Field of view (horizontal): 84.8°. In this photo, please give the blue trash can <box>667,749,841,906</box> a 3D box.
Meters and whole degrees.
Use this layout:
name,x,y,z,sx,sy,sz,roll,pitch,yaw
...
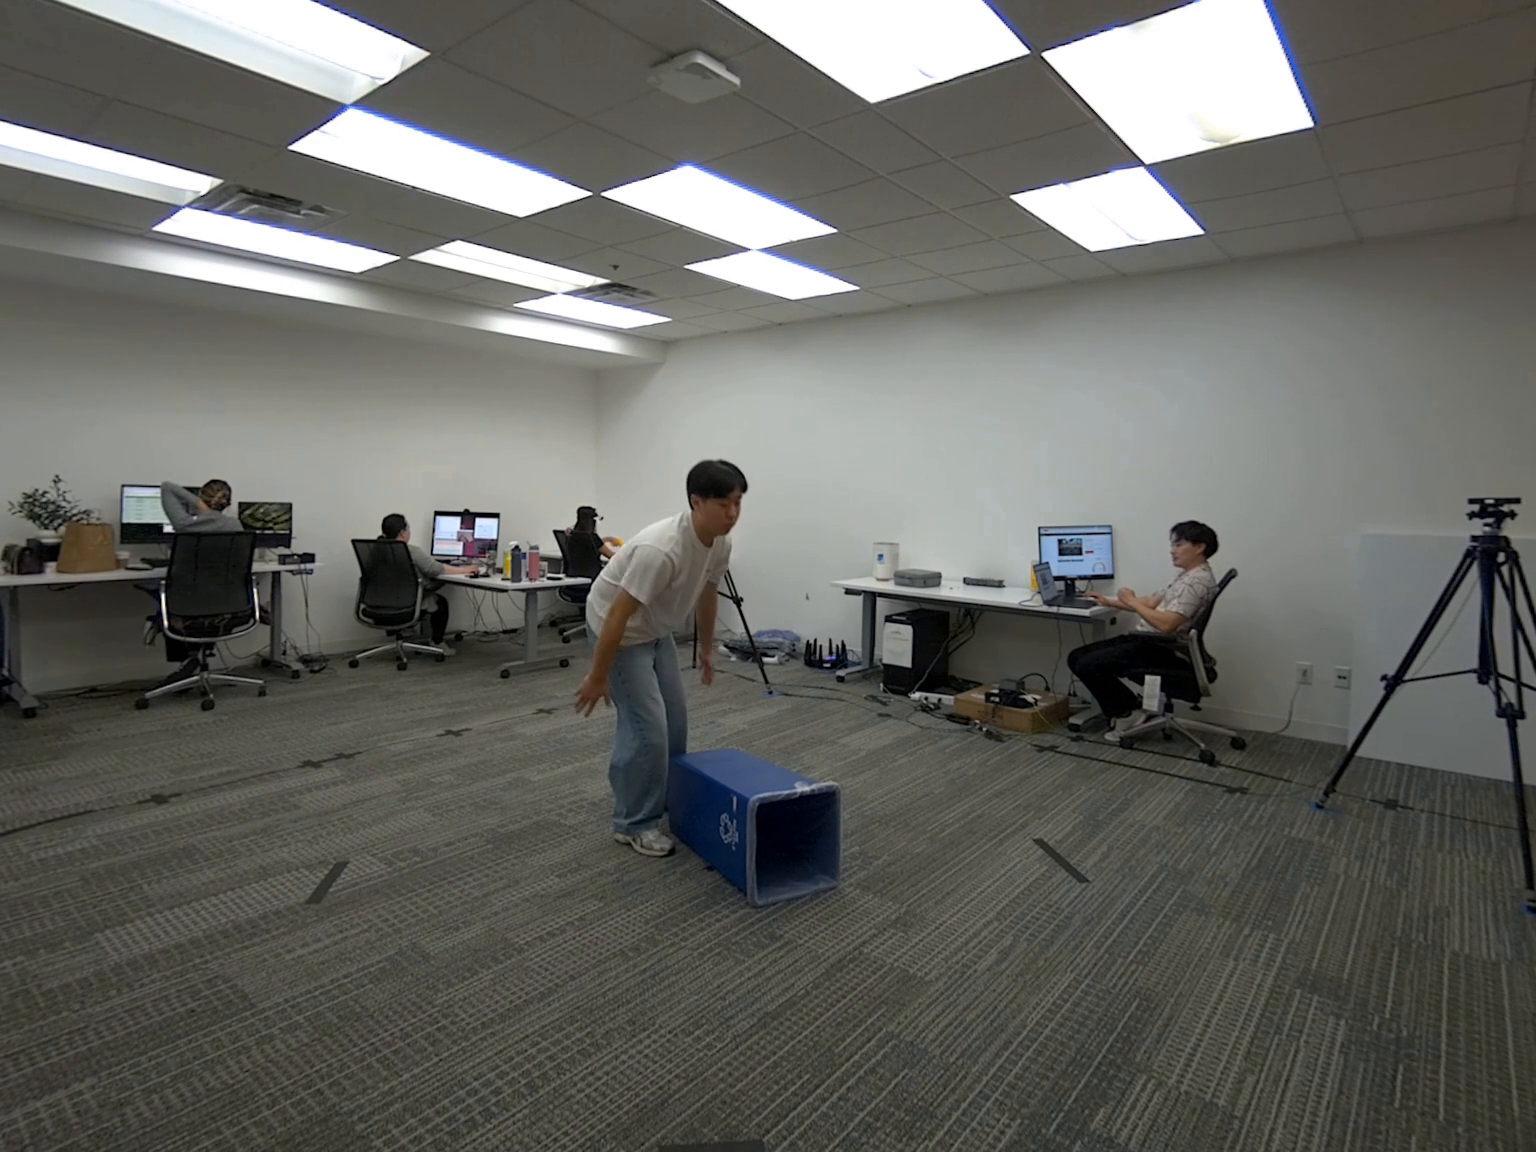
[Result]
name,x,y,z,sx,sy,sz,roll,pitch,yaw
blue trash can,-0.088,0.893,3.197,0.368,0.374,0.734,-2,3,-30
